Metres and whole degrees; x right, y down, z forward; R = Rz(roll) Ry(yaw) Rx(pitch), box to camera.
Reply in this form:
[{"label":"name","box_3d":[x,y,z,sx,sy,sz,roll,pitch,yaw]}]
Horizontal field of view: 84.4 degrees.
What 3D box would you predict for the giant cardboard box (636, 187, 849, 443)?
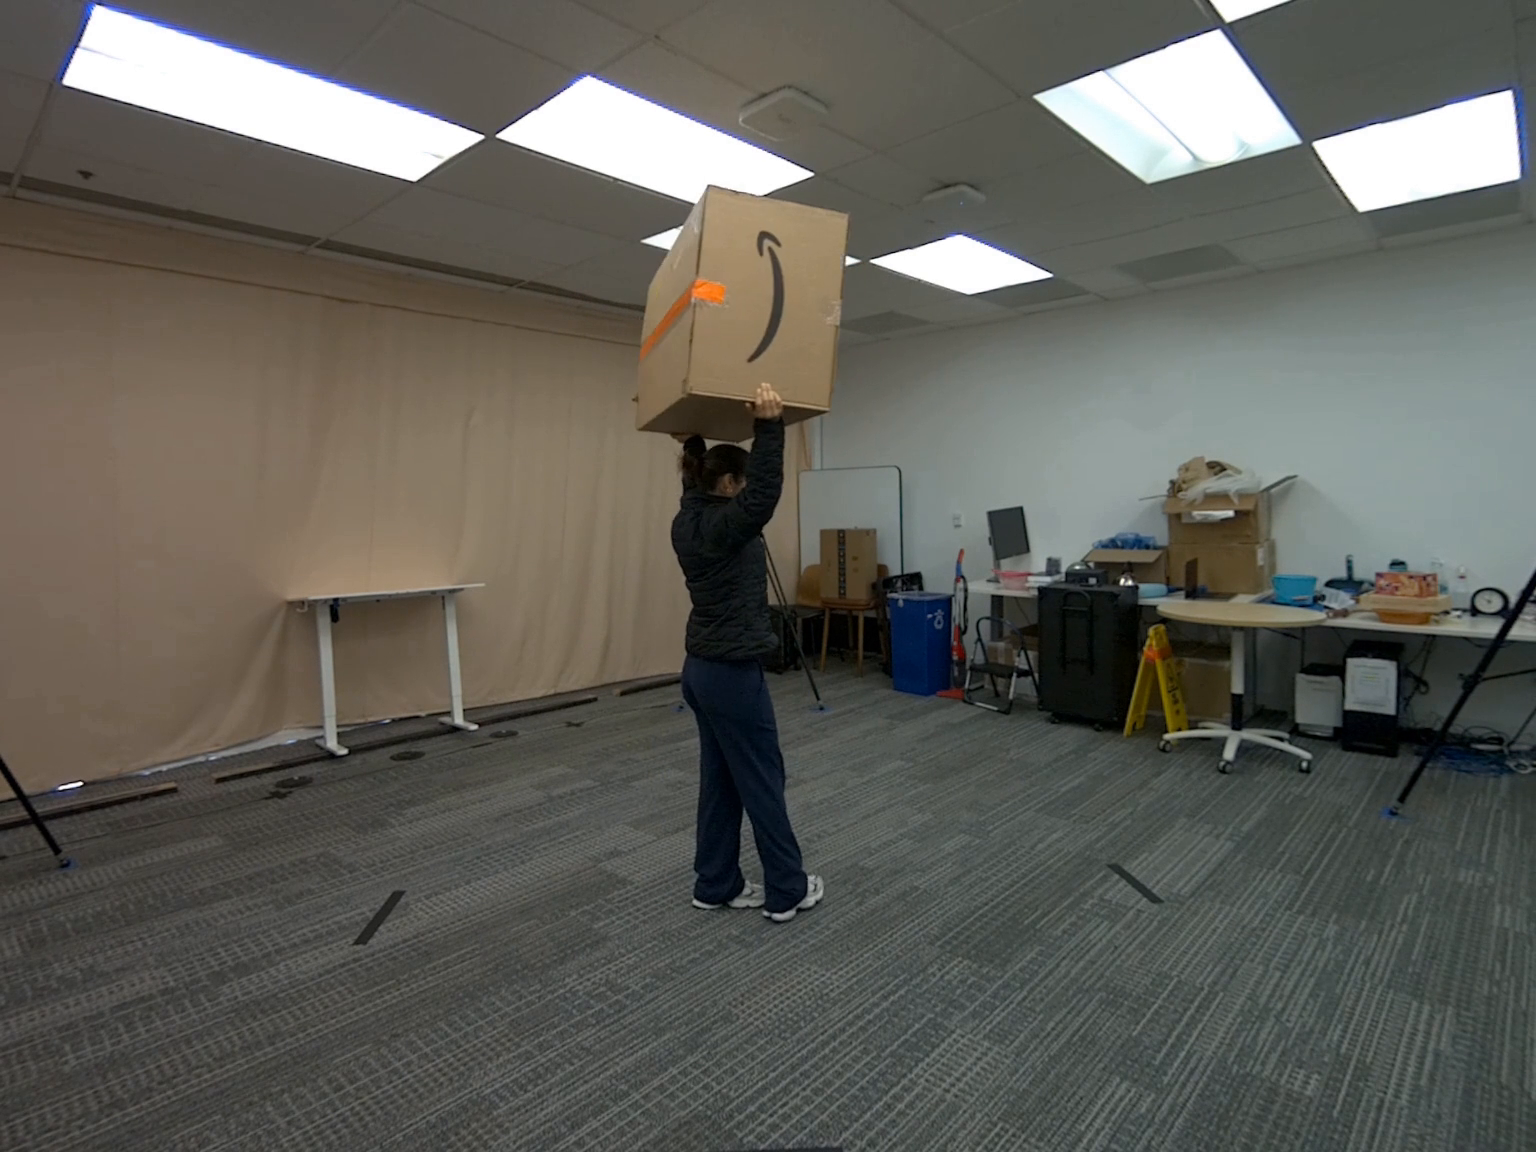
[{"label":"giant cardboard box","box_3d":[-0.128,-0.792,2.838,0.439,0.583,1.045,5,1,-17]}]
